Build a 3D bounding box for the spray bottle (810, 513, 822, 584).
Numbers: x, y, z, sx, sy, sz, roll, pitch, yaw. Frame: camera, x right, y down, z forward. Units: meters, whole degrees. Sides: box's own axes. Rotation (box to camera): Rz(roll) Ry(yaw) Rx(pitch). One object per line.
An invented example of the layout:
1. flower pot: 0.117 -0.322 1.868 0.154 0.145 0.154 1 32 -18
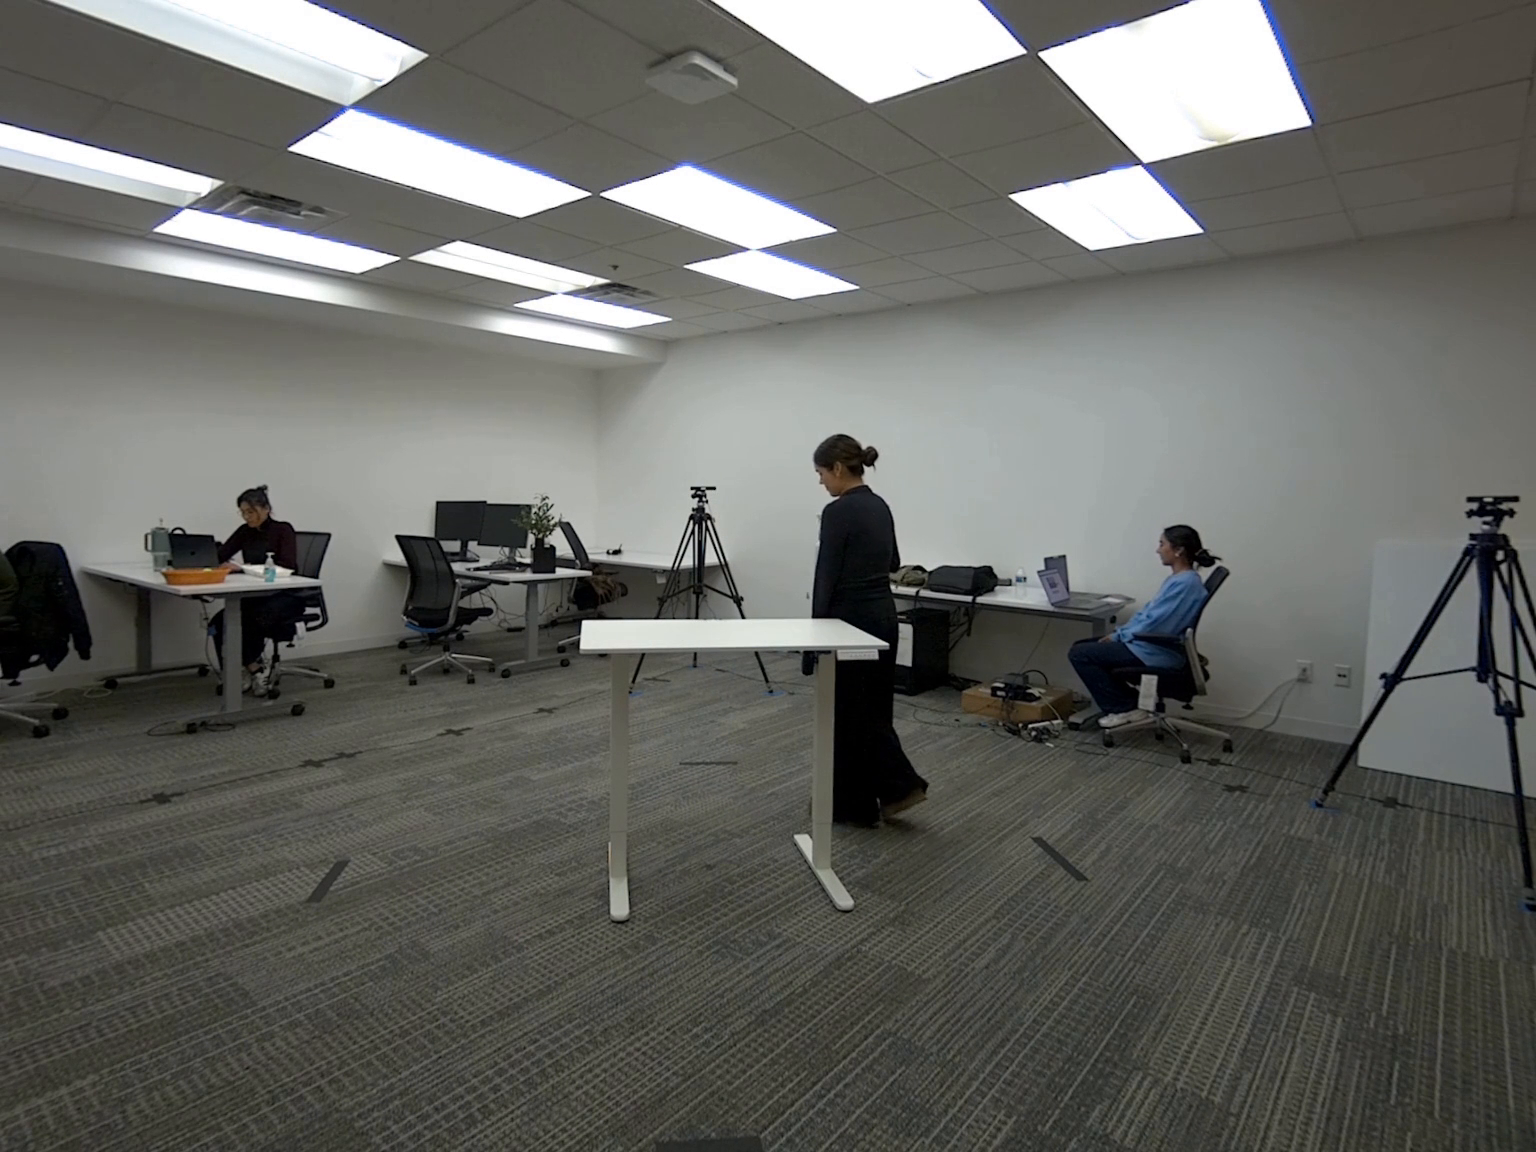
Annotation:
1. spray bottle: 0.235 -0.122 3.686 0.091 0.296 0.087 3 5 5
